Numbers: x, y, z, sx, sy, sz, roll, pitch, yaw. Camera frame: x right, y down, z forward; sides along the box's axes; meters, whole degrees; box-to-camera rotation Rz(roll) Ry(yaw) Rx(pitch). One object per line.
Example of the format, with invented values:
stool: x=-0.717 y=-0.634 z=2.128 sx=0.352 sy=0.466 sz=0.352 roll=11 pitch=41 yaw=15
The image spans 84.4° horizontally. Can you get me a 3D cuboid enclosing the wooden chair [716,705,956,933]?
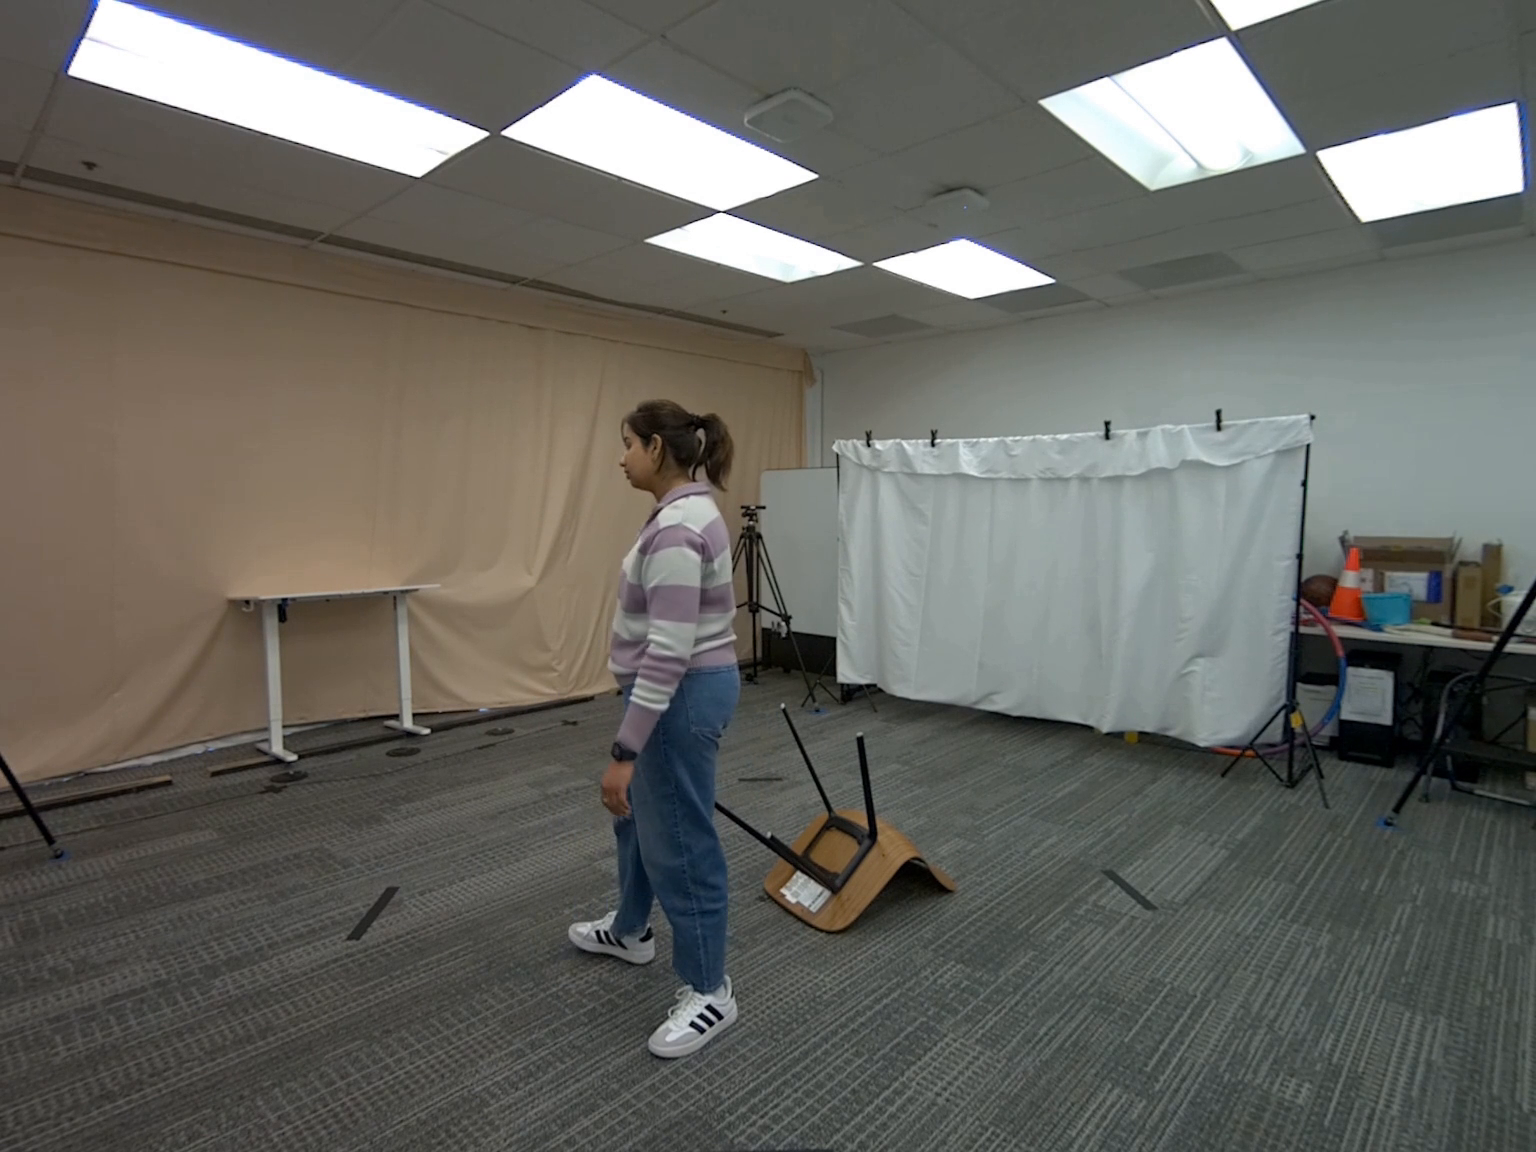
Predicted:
wooden chair: x=0.231 y=0.972 z=2.975 sx=0.520 sy=0.856 sz=0.492 roll=-46 pitch=25 yaw=-22
